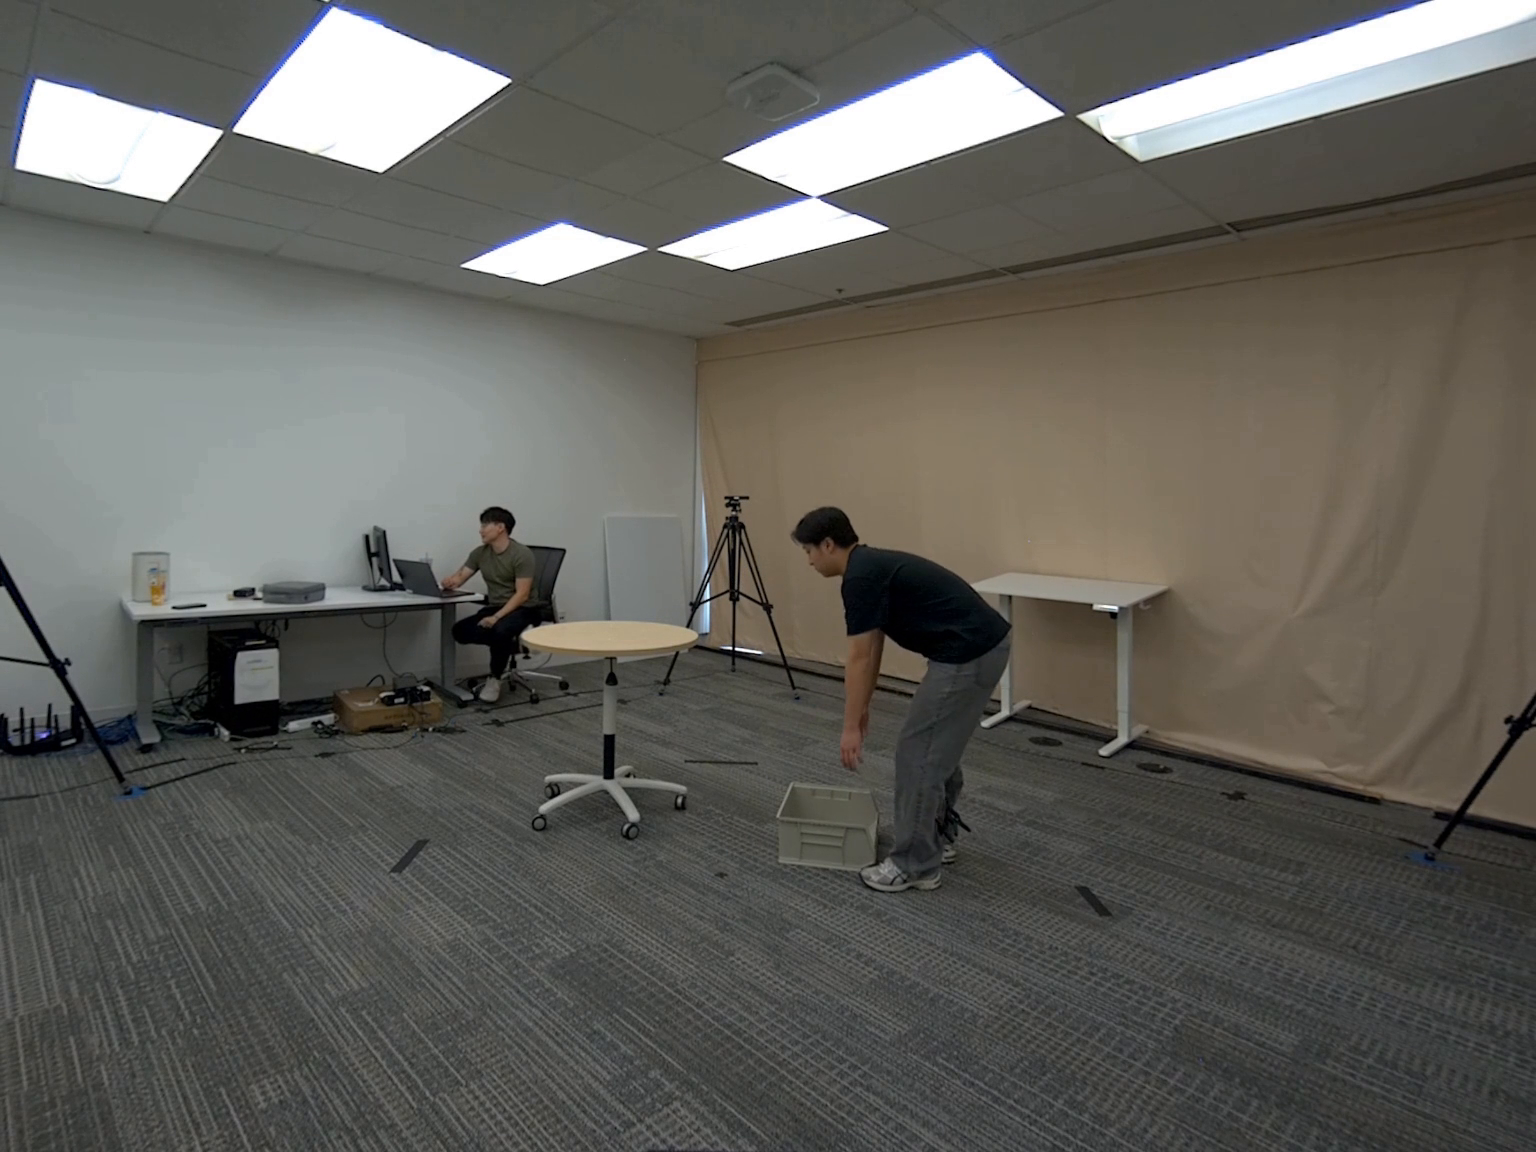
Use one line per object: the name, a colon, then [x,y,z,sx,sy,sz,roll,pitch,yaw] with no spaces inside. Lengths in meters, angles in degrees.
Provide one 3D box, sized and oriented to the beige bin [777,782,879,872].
beige bin: [0.248,0.994,3.375,0.381,0.188,0.420,1,5,10]
